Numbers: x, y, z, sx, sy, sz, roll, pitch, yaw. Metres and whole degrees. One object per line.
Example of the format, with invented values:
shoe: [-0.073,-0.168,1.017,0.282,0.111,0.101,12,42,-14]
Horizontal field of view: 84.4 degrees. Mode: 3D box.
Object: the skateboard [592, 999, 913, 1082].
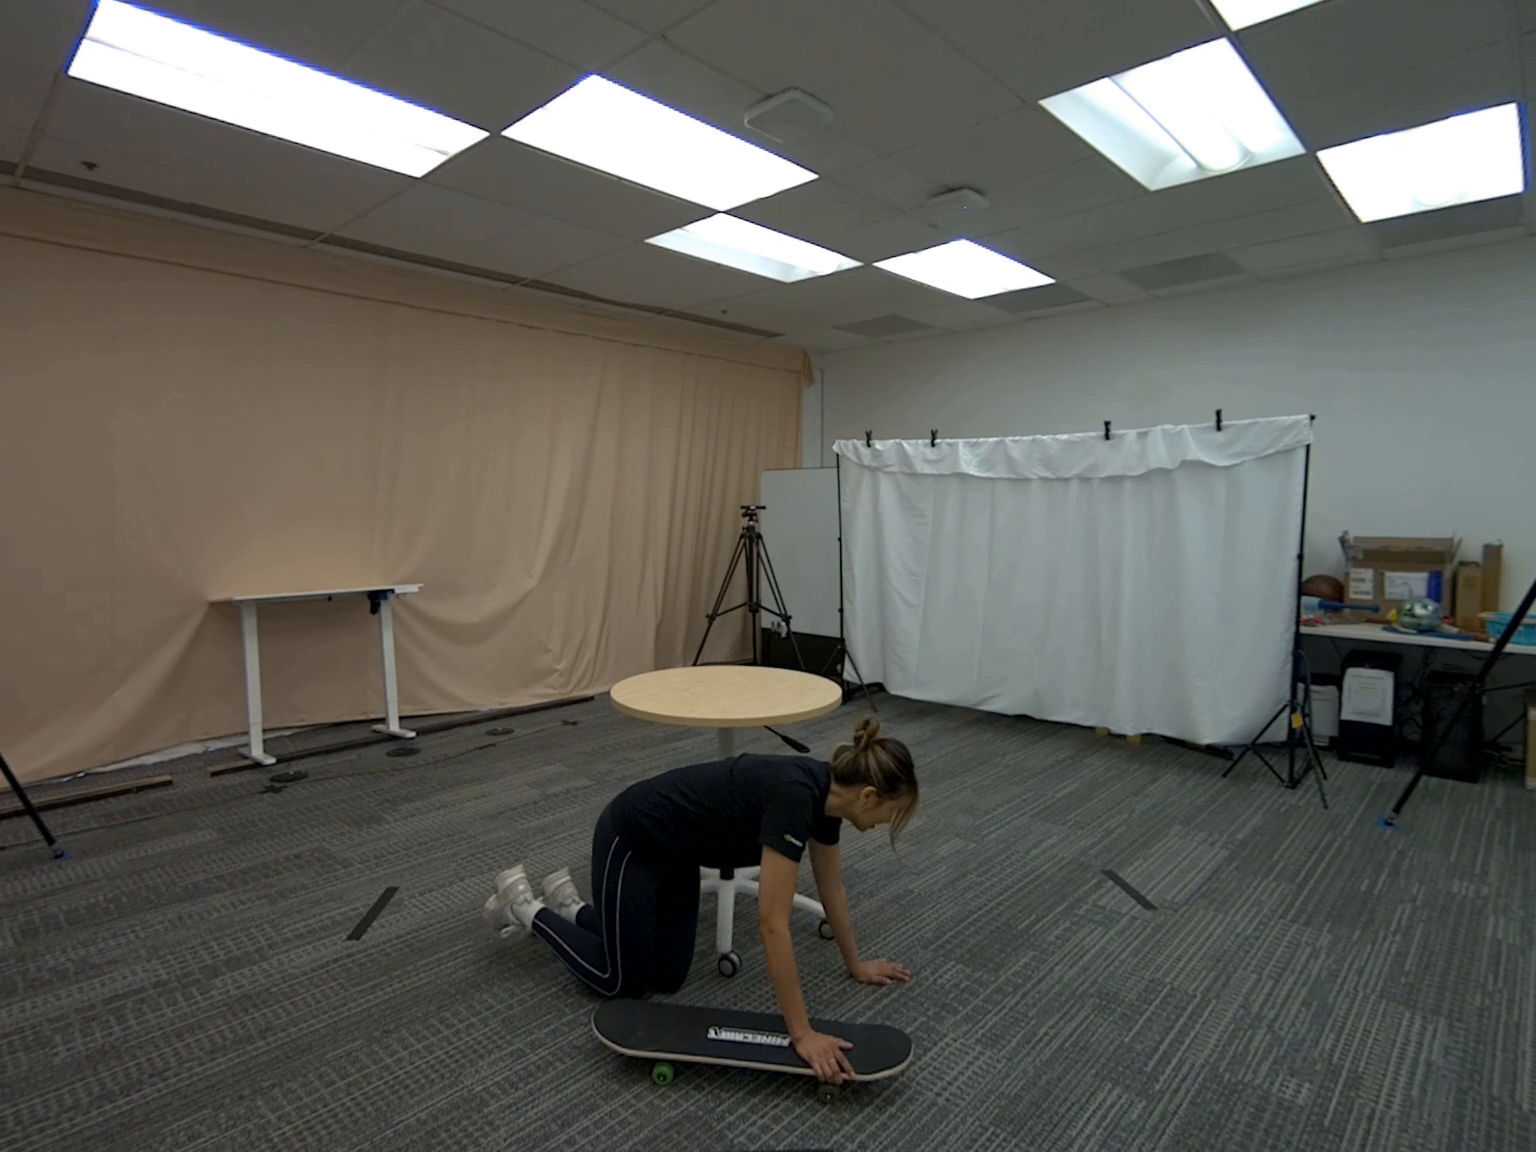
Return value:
skateboard: [-0.042,1.163,2.073,0.794,0.110,0.192,1,7,10]
